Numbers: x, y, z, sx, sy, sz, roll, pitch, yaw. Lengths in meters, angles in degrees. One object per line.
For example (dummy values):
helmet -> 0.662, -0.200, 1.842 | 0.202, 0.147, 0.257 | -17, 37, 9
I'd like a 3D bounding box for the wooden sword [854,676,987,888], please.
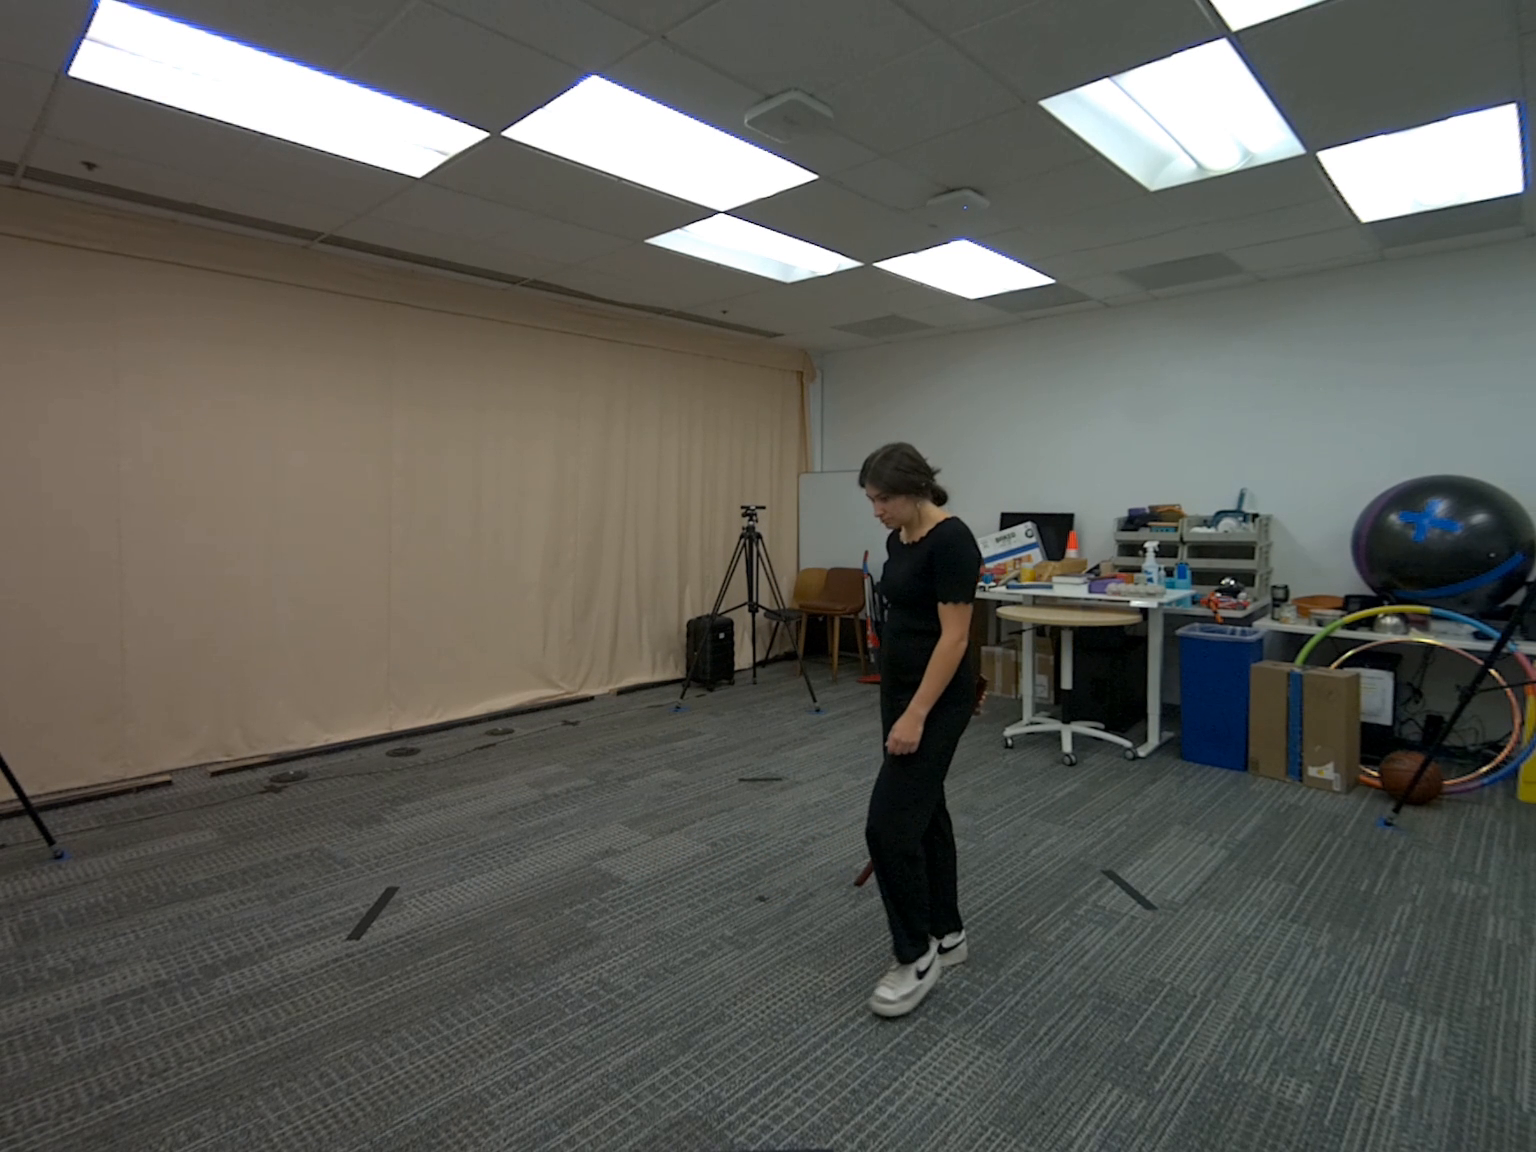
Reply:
wooden sword -> 0.506, 0.742, 2.832 | 0.024, 1.022, 0.050 | 35, 29, 14
